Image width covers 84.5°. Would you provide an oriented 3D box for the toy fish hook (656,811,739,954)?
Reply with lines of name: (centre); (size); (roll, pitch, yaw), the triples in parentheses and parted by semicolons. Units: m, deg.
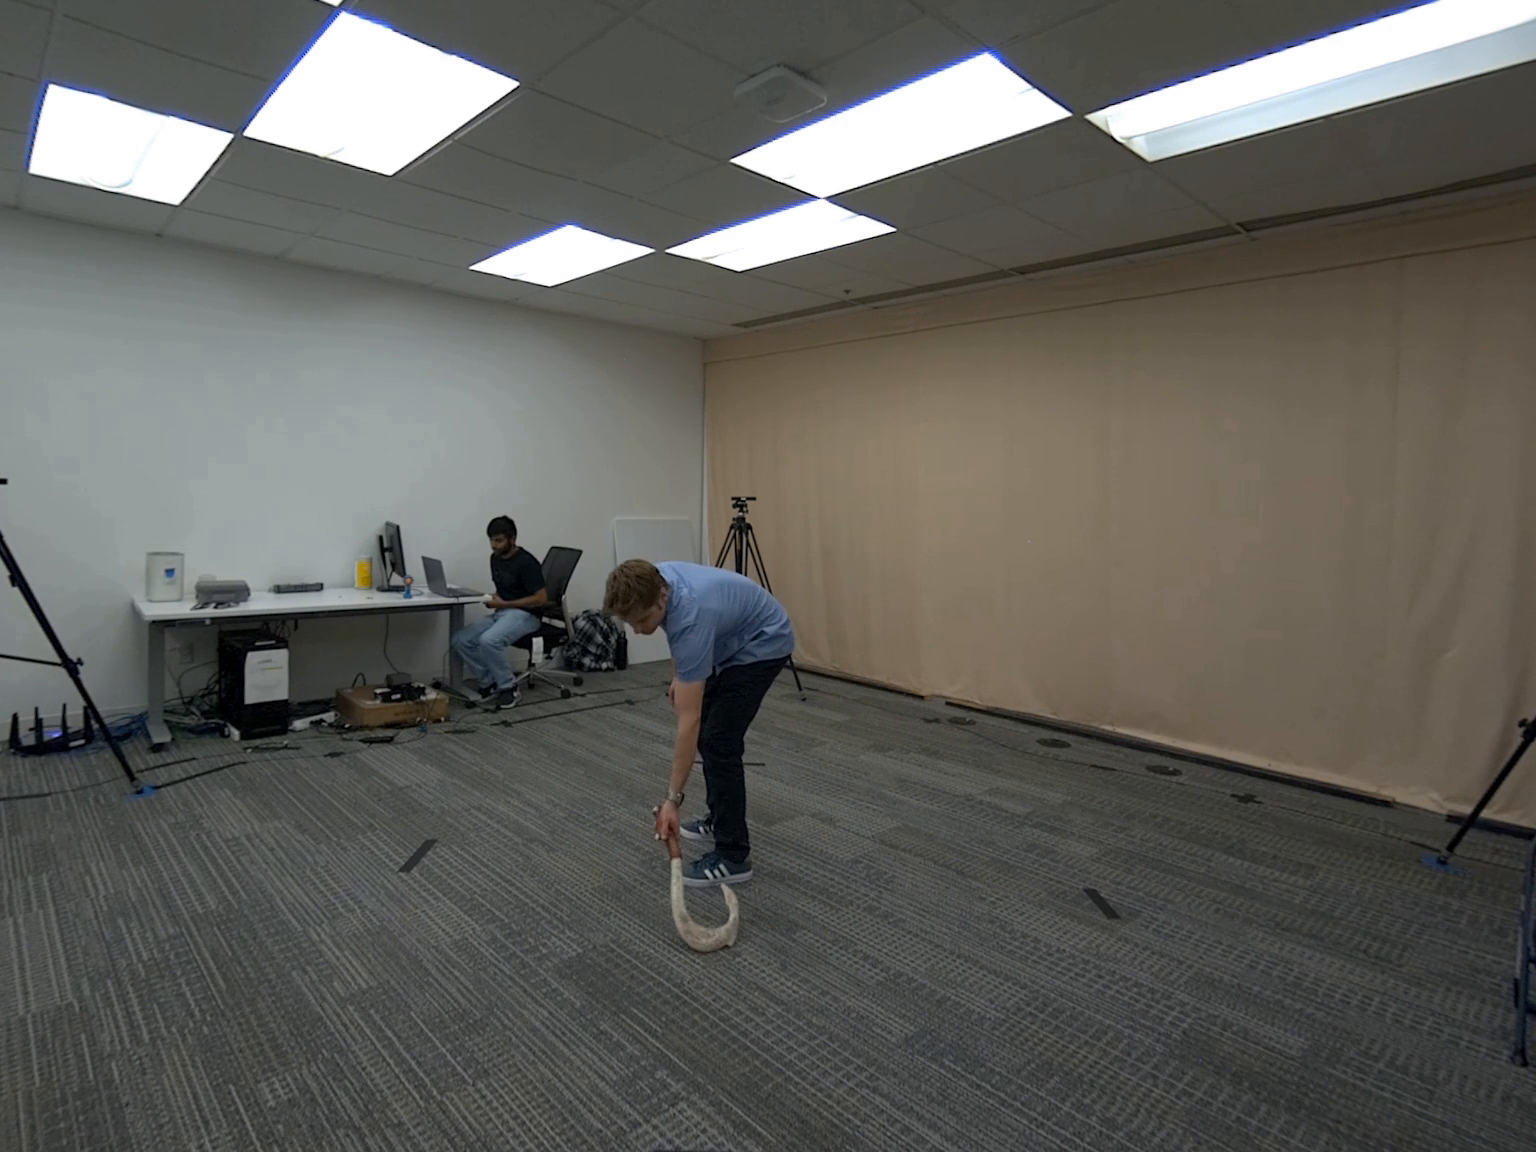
toy fish hook: (-0.249, 0.979, 2.754); (0.220, 0.048, 0.522); (0, 43, -30)
